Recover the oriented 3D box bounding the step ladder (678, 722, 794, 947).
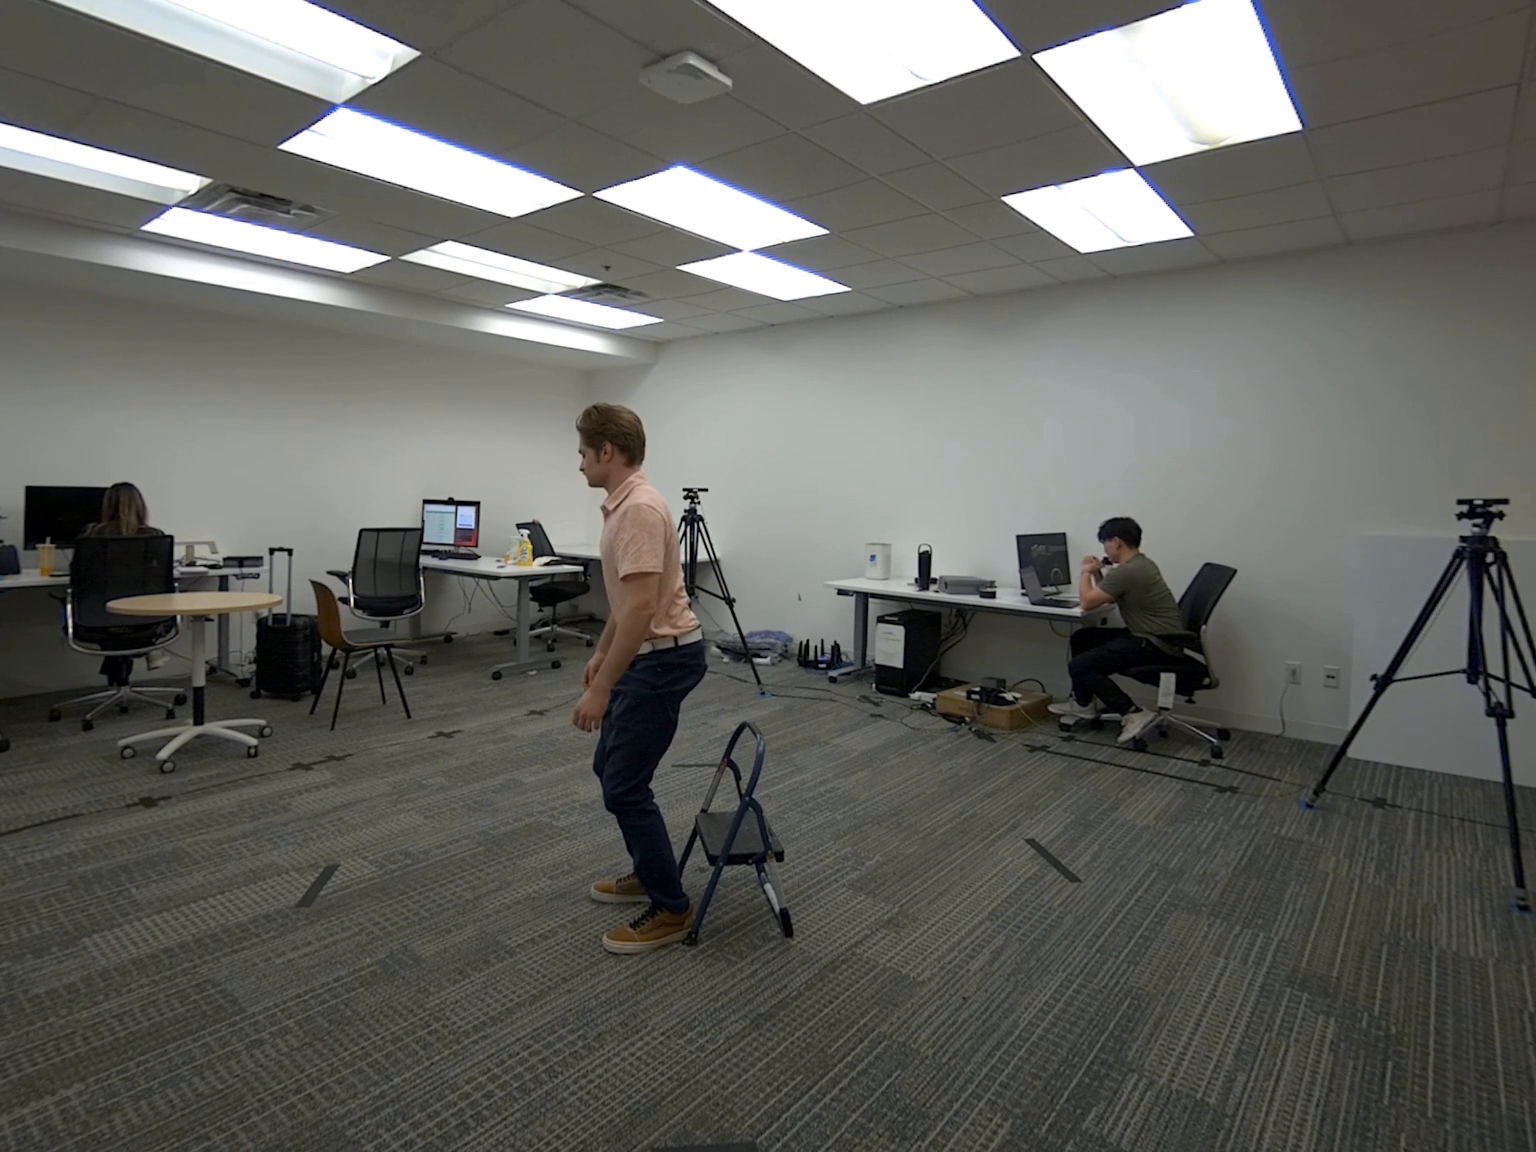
[{"bbox_3d":[-0.129,0.806,2.803,0.345,0.604,0.438,1,4,-13],"label":"step ladder"}]
